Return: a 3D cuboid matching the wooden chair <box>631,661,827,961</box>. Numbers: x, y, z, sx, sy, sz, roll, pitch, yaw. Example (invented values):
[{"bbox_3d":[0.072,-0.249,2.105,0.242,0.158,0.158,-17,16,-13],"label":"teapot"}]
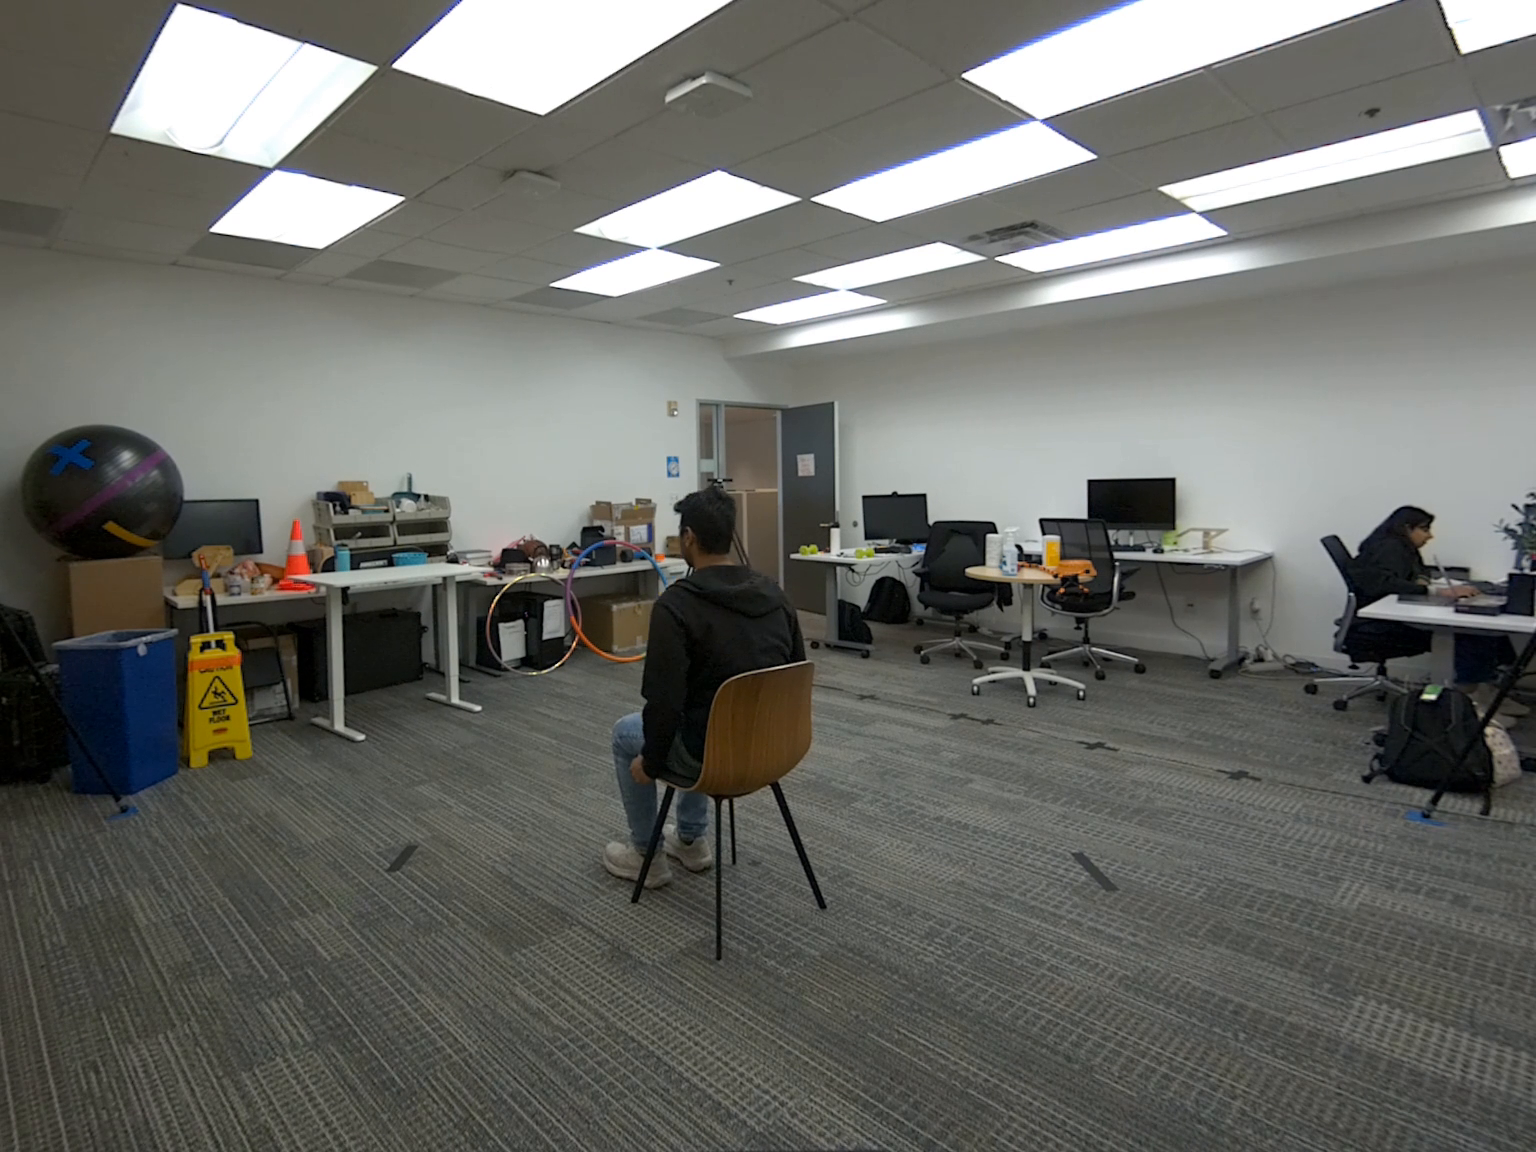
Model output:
[{"bbox_3d":[-0.144,0.657,2.774,0.465,0.872,0.540,-5,10,-41],"label":"wooden chair"}]
